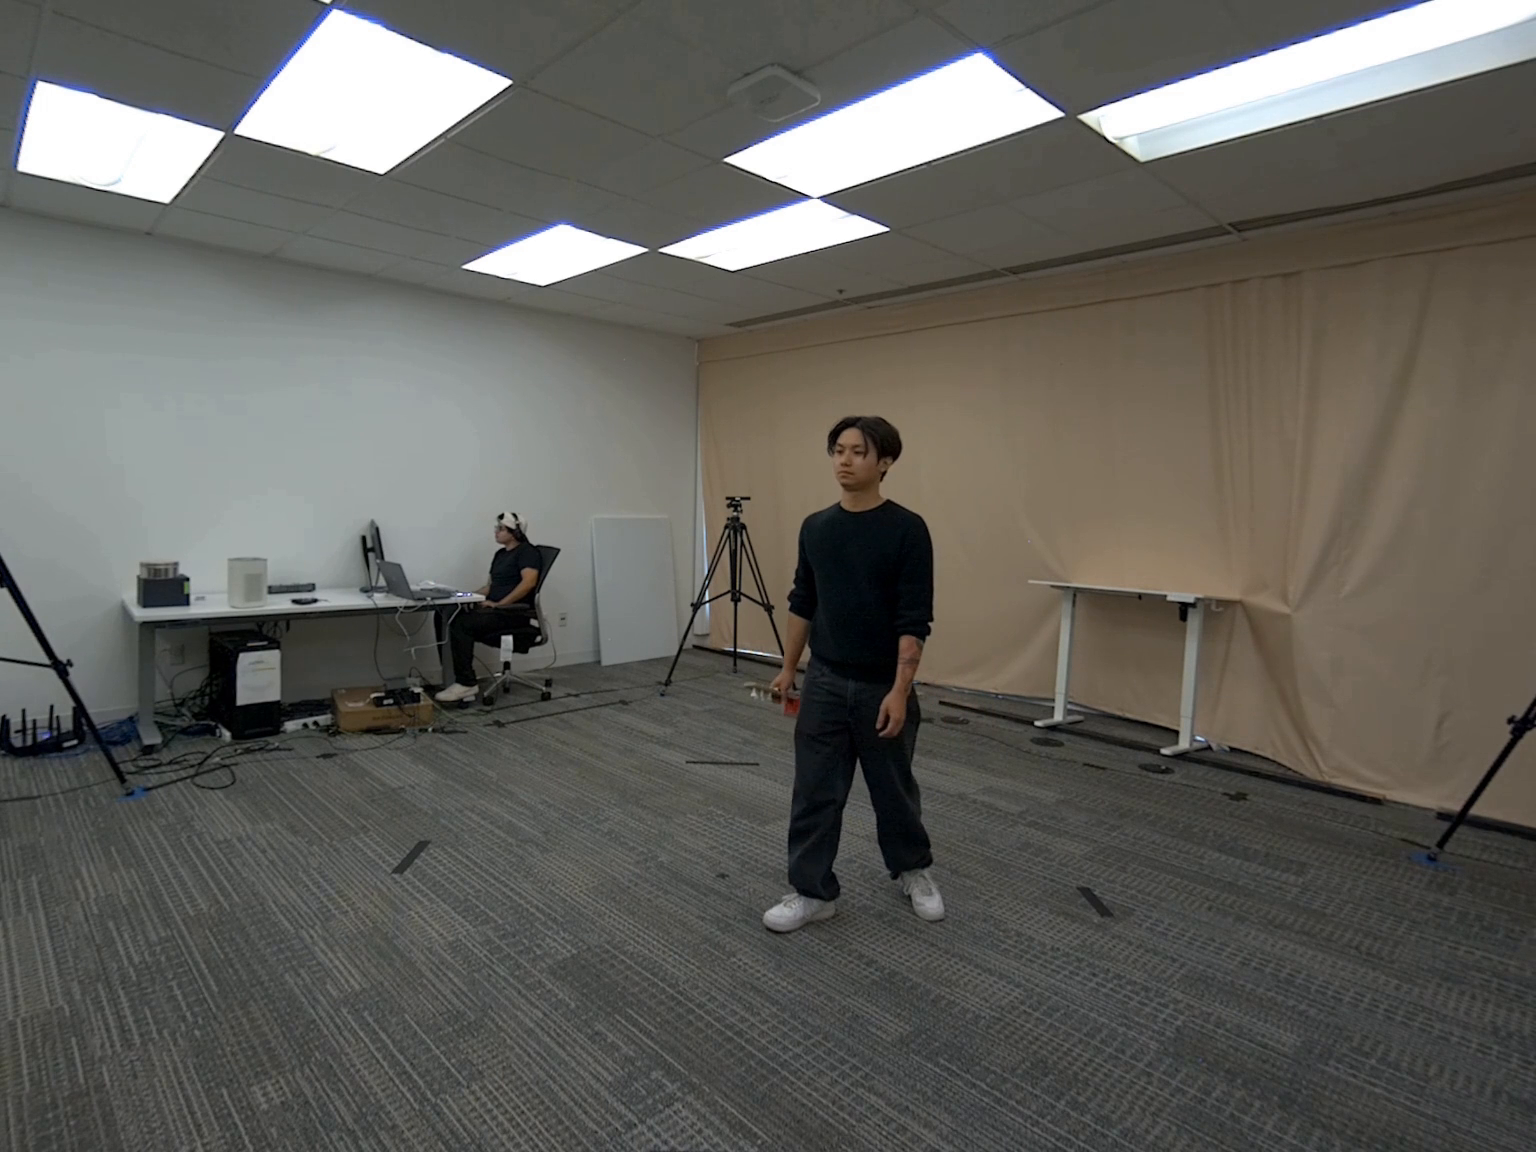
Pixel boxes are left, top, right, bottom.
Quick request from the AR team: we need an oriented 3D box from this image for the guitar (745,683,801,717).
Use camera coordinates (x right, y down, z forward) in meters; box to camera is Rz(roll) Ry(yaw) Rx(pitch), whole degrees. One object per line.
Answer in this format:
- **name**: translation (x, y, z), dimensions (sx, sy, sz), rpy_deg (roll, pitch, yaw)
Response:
- **guitar**: translation (0.083, 0.473, 3.036), dimensions (0.485, 0.071, 0.196), rpy_deg (18, -20, -30)
